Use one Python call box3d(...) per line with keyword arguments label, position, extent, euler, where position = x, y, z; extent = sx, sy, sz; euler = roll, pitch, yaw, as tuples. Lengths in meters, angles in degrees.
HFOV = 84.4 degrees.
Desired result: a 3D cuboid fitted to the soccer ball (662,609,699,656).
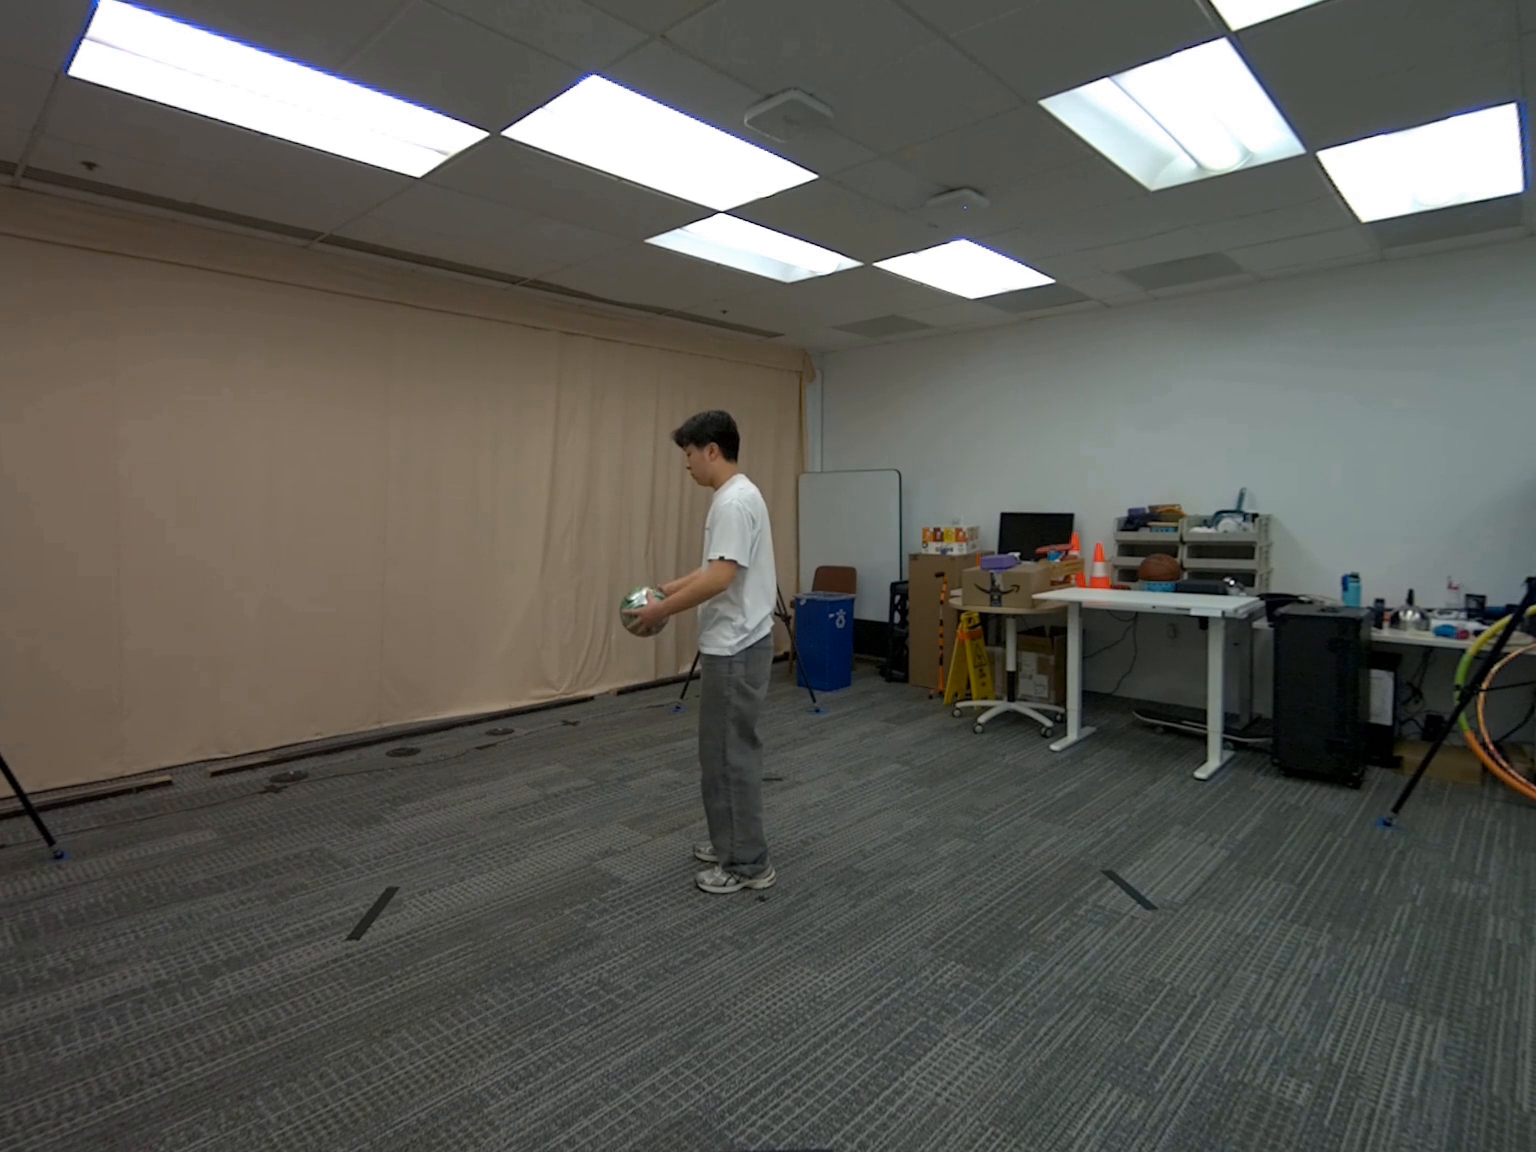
box3d(label="soccer ball", position=(-0.280, 0.175, 3.033), extent=(0.187, 0.187, 0.188), euler=(0, 4, -2))
